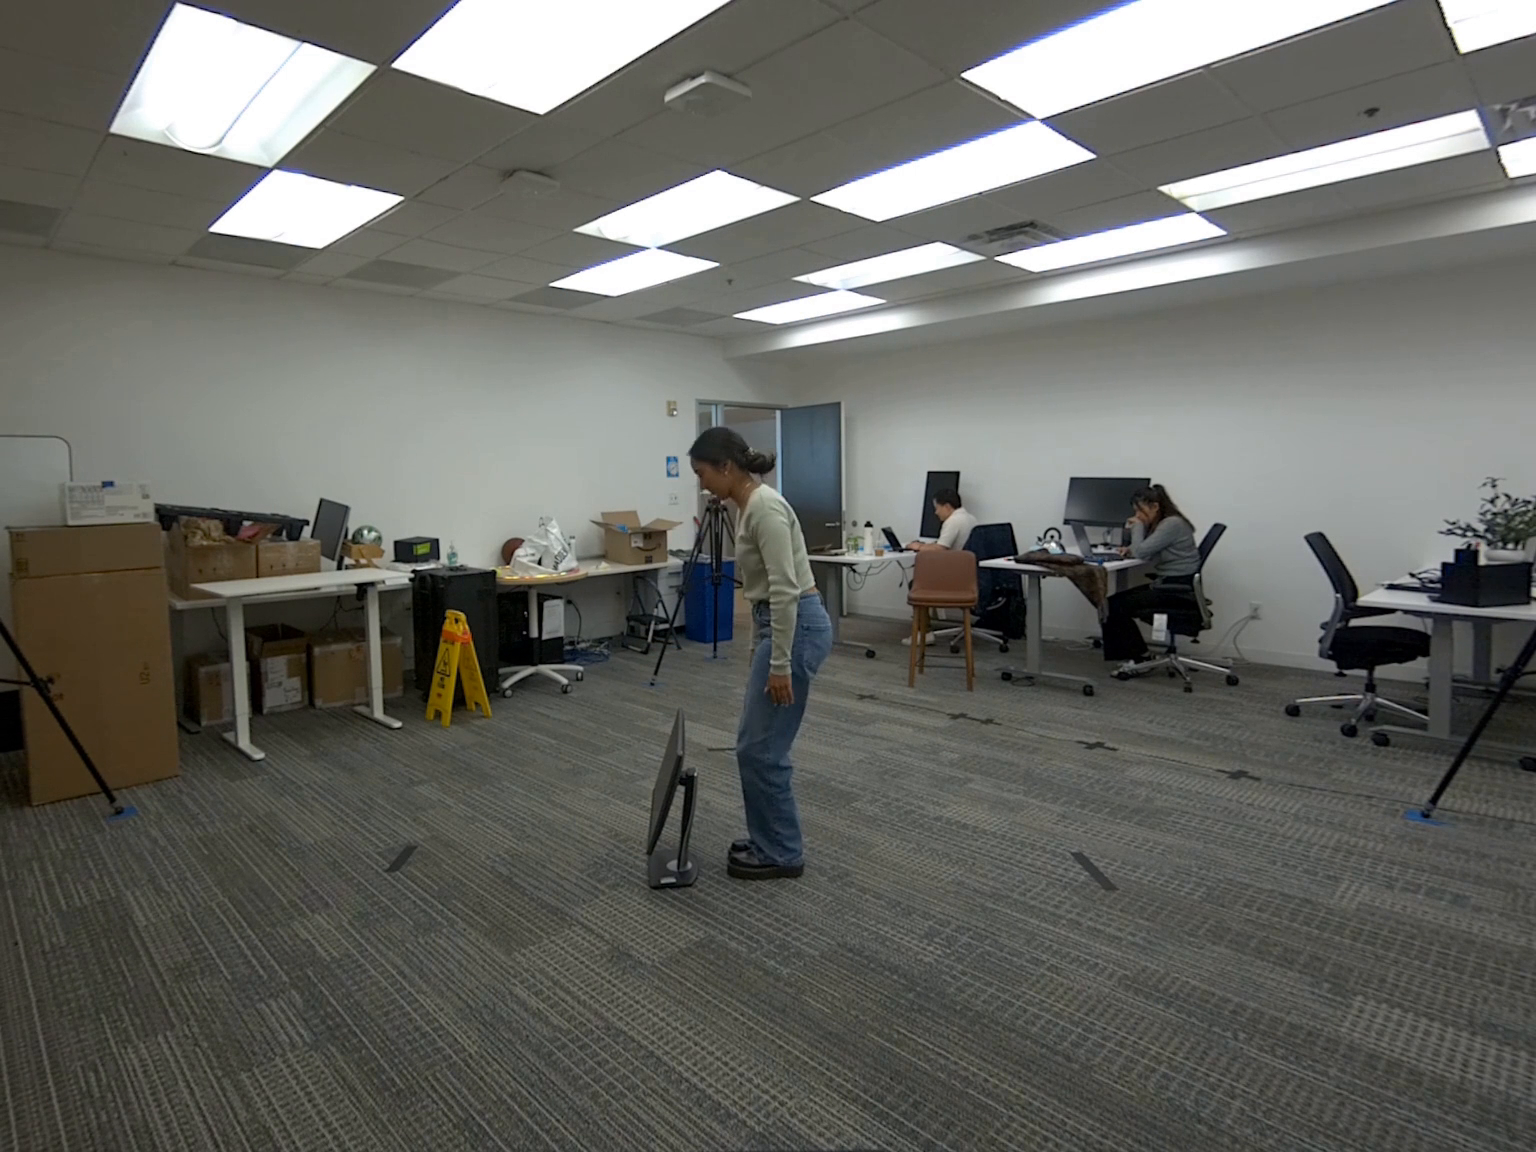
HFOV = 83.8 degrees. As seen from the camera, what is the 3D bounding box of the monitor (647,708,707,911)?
[{"bbox_3d":[-0.326,0.799,3.042,0.174,0.514,0.535,-2,5,-6],"label":"monitor"}]
